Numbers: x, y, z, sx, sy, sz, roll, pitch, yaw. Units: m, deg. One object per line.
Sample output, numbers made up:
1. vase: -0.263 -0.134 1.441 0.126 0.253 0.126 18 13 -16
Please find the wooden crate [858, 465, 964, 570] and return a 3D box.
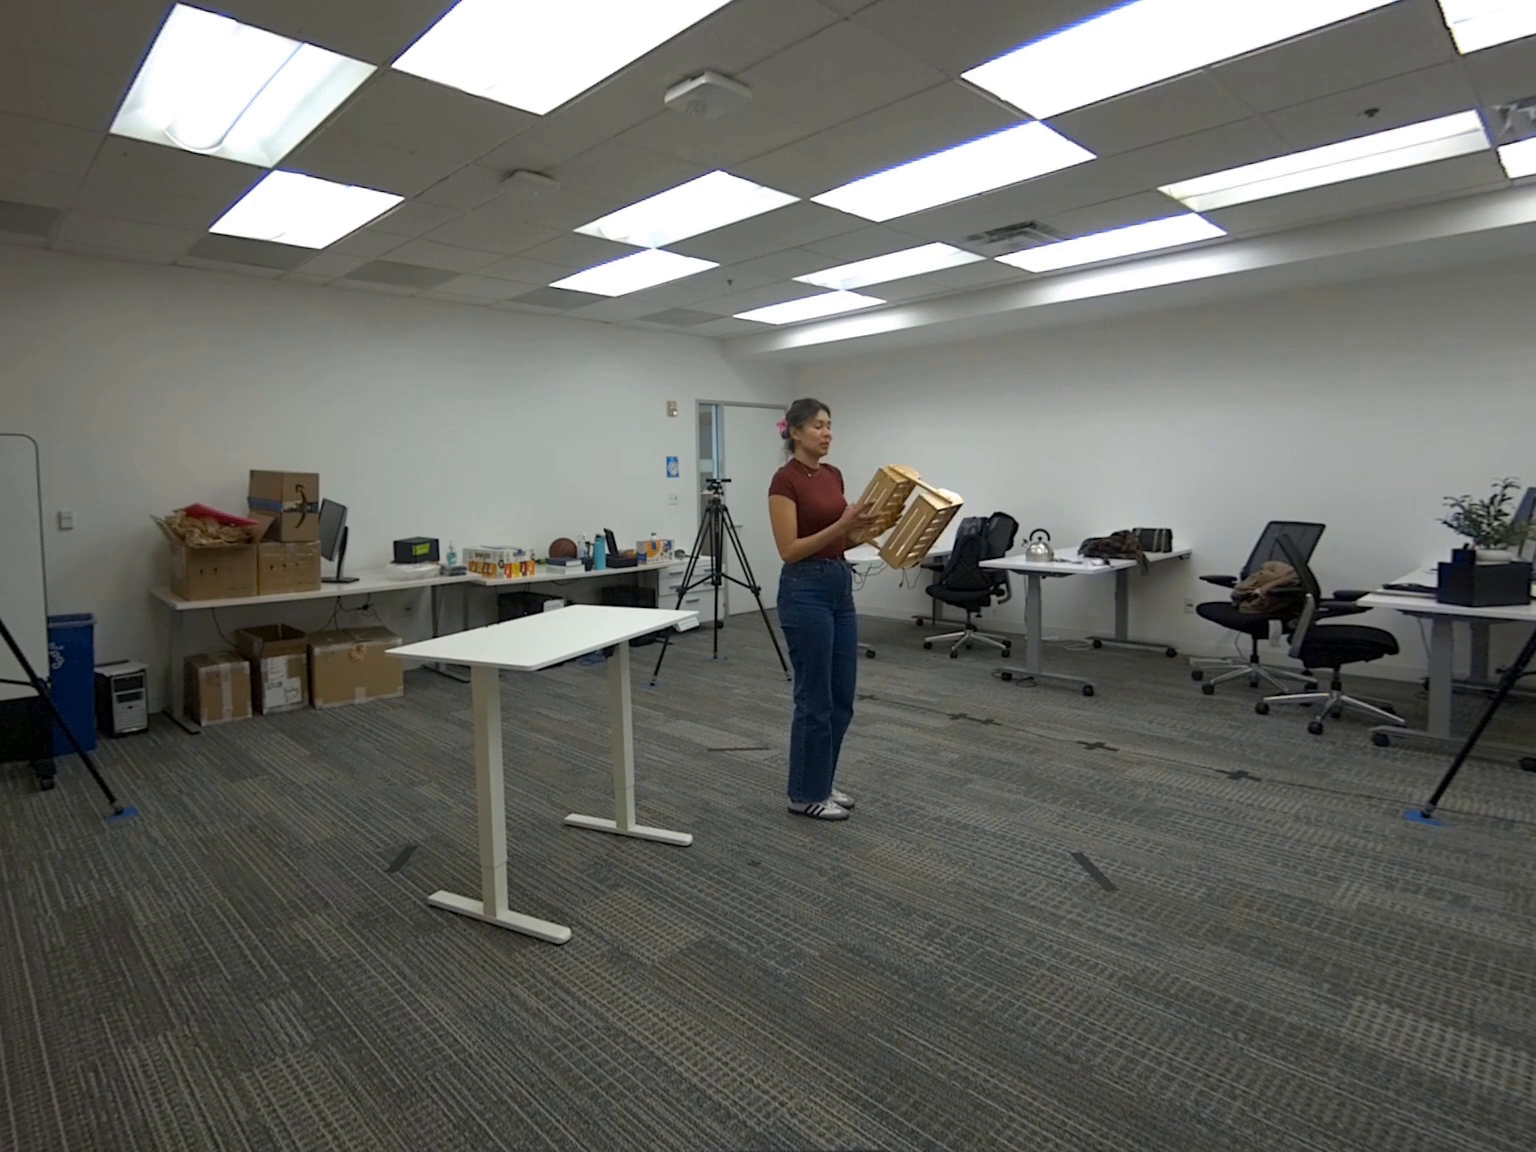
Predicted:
1. wooden crate: 0.524 -0.236 3.319 0.281 0.322 0.296 45 33 22
